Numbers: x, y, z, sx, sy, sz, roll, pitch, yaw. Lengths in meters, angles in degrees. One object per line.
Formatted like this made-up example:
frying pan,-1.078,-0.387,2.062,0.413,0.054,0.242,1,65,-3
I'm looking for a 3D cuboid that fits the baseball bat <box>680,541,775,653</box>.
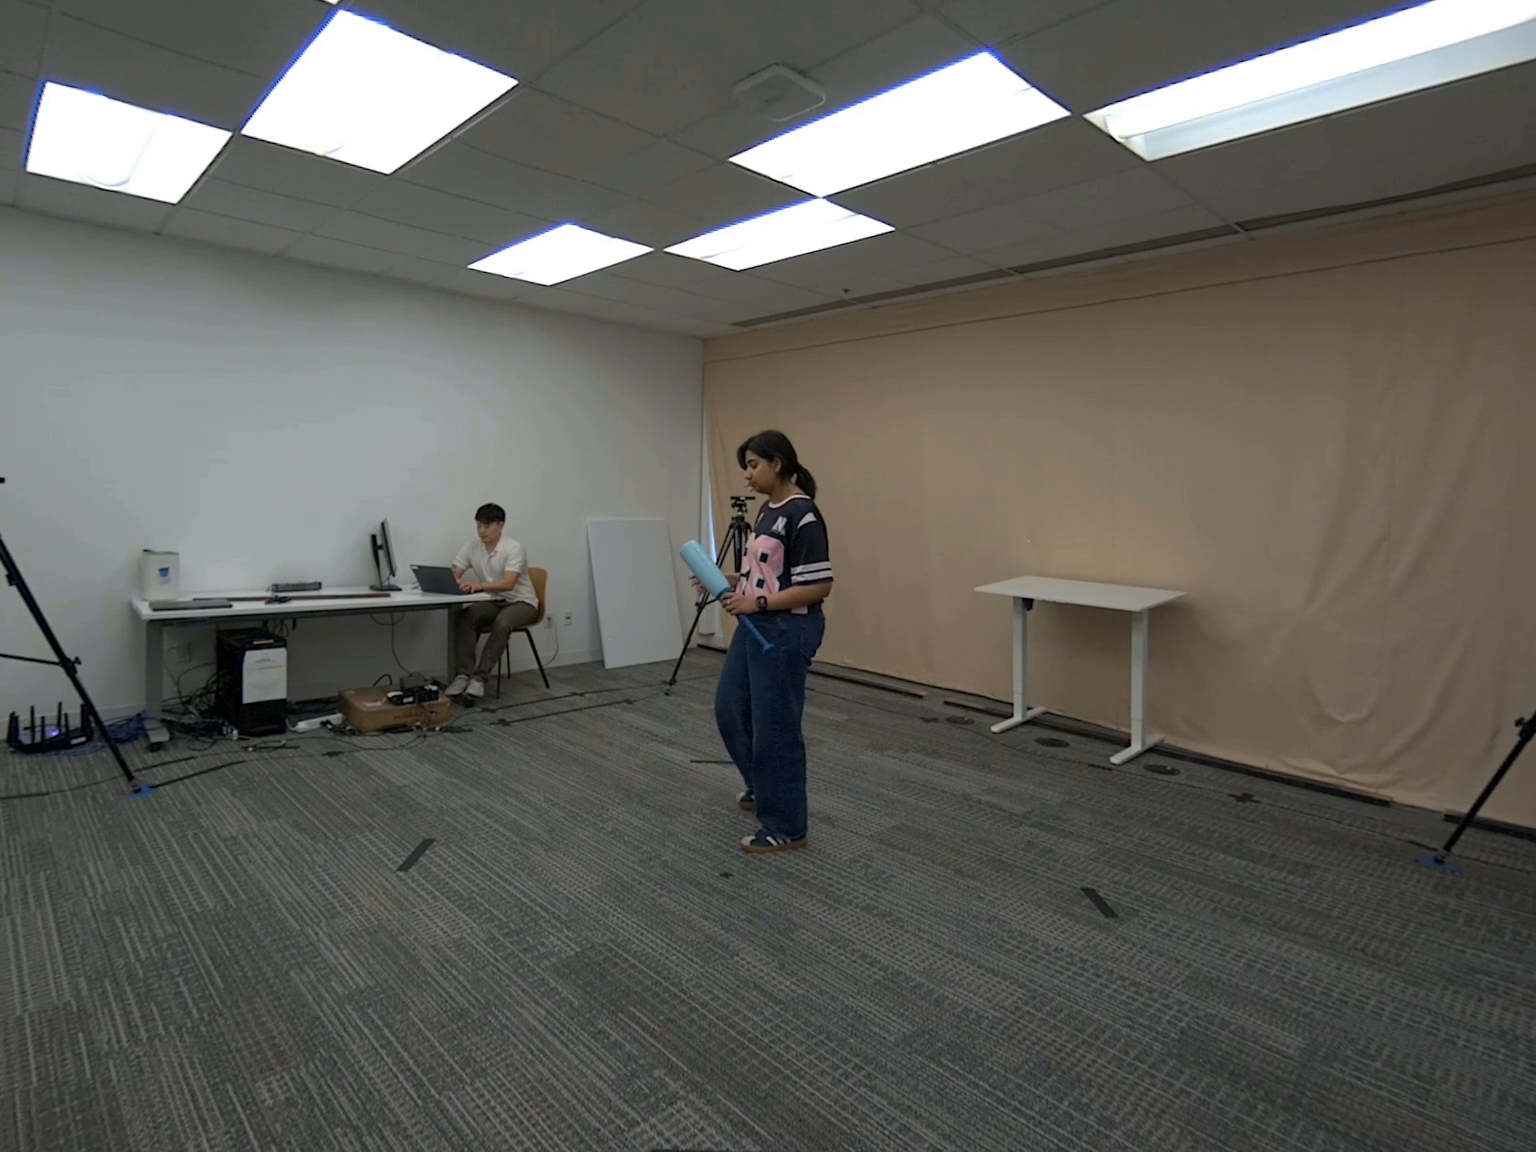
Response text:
baseball bat,-0.163,0.080,3.153,0.087,0.089,0.556,-3,49,-52
